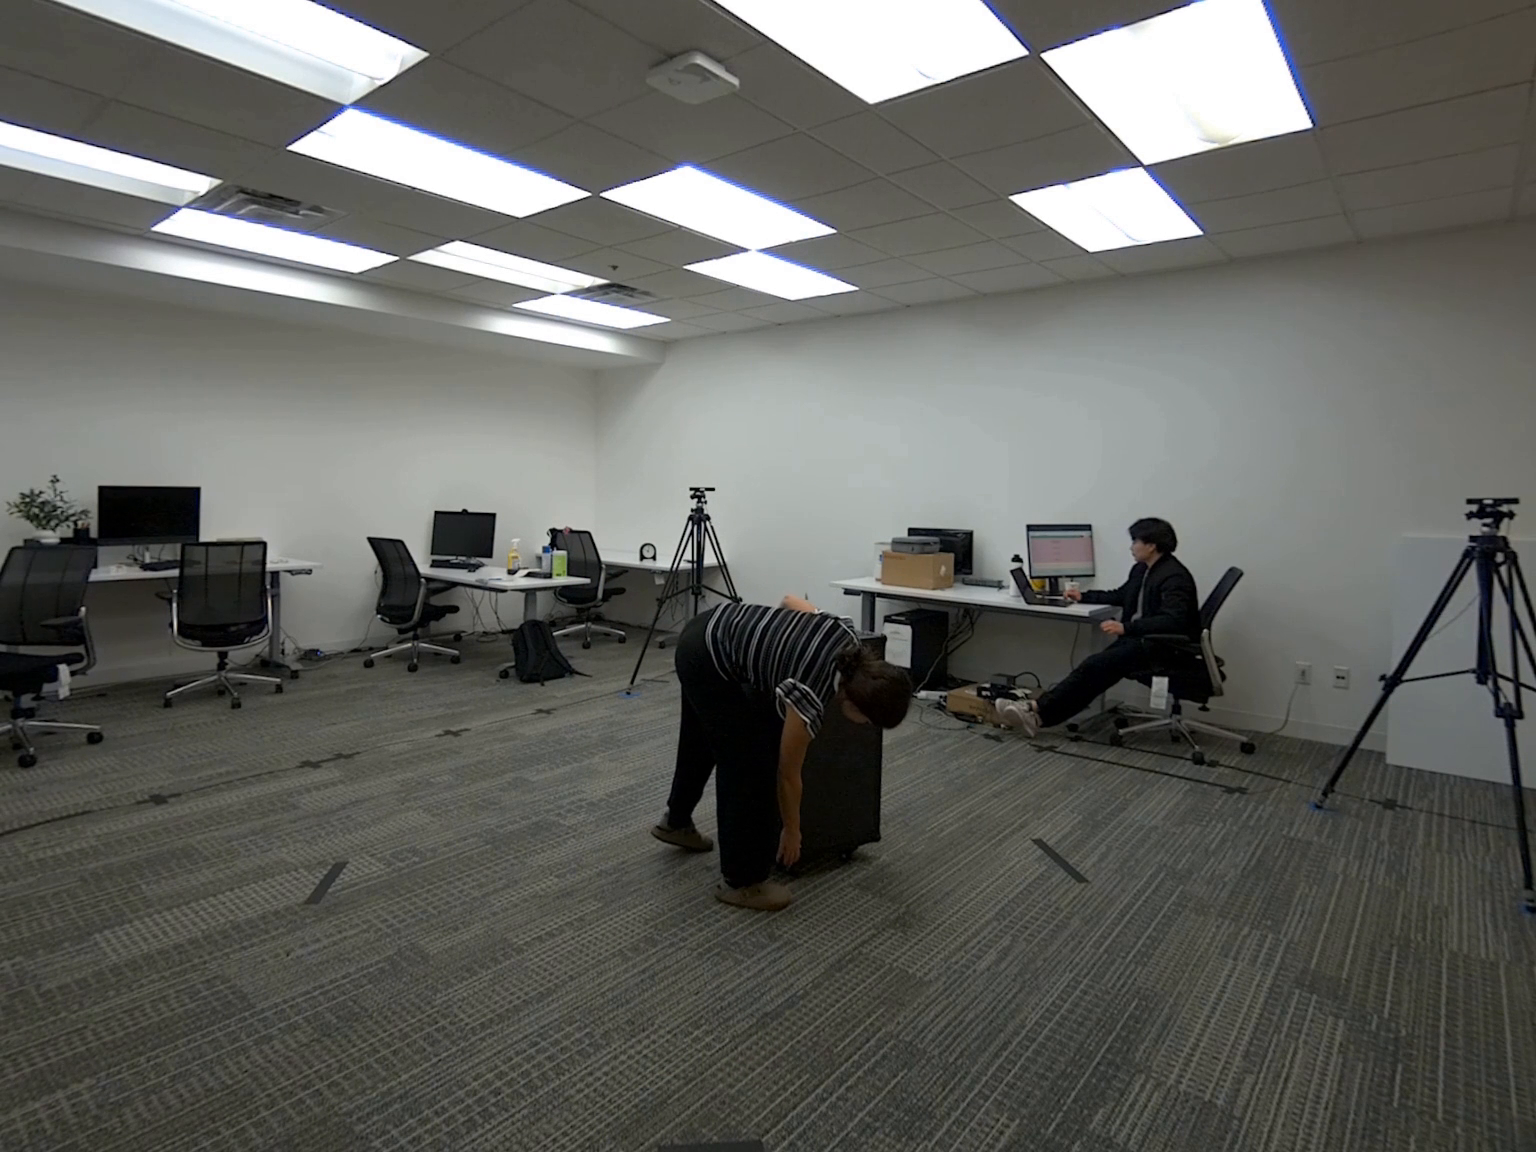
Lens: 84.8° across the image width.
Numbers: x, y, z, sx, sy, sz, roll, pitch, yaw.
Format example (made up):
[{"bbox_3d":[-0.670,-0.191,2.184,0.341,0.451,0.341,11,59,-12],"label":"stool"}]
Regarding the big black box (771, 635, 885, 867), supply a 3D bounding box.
[{"bbox_3d":[0.125,0.638,3.231,0.506,0.859,0.409,-1,3,-35],"label":"big black box"}]
